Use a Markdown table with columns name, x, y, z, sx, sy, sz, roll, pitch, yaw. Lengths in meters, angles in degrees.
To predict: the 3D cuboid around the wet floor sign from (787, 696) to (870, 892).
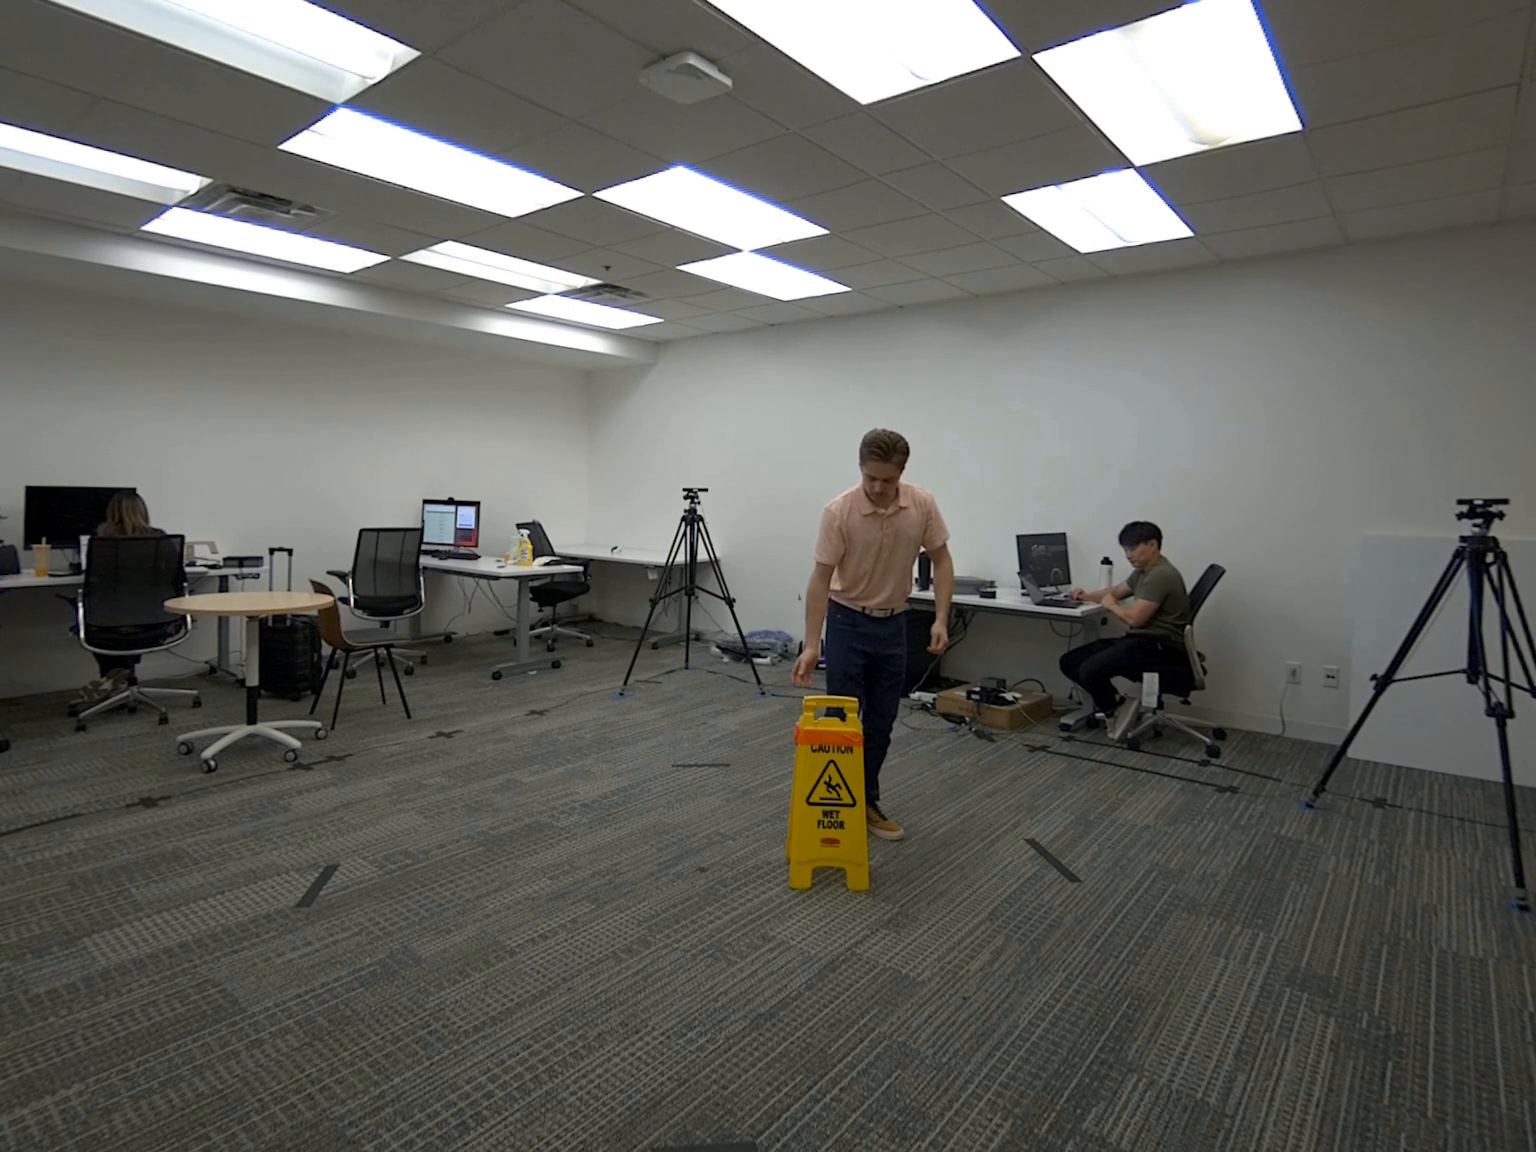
| name | x | y | z | sx | sy | sz | roll | pitch | yaw |
| --- | --- | --- | --- | --- | --- | --- | --- | --- | --- |
| wet floor sign | 0.210 | 0.756 | 3.071 | 0.282 | 0.643 | 0.291 | 0 | 4 | 0 |
